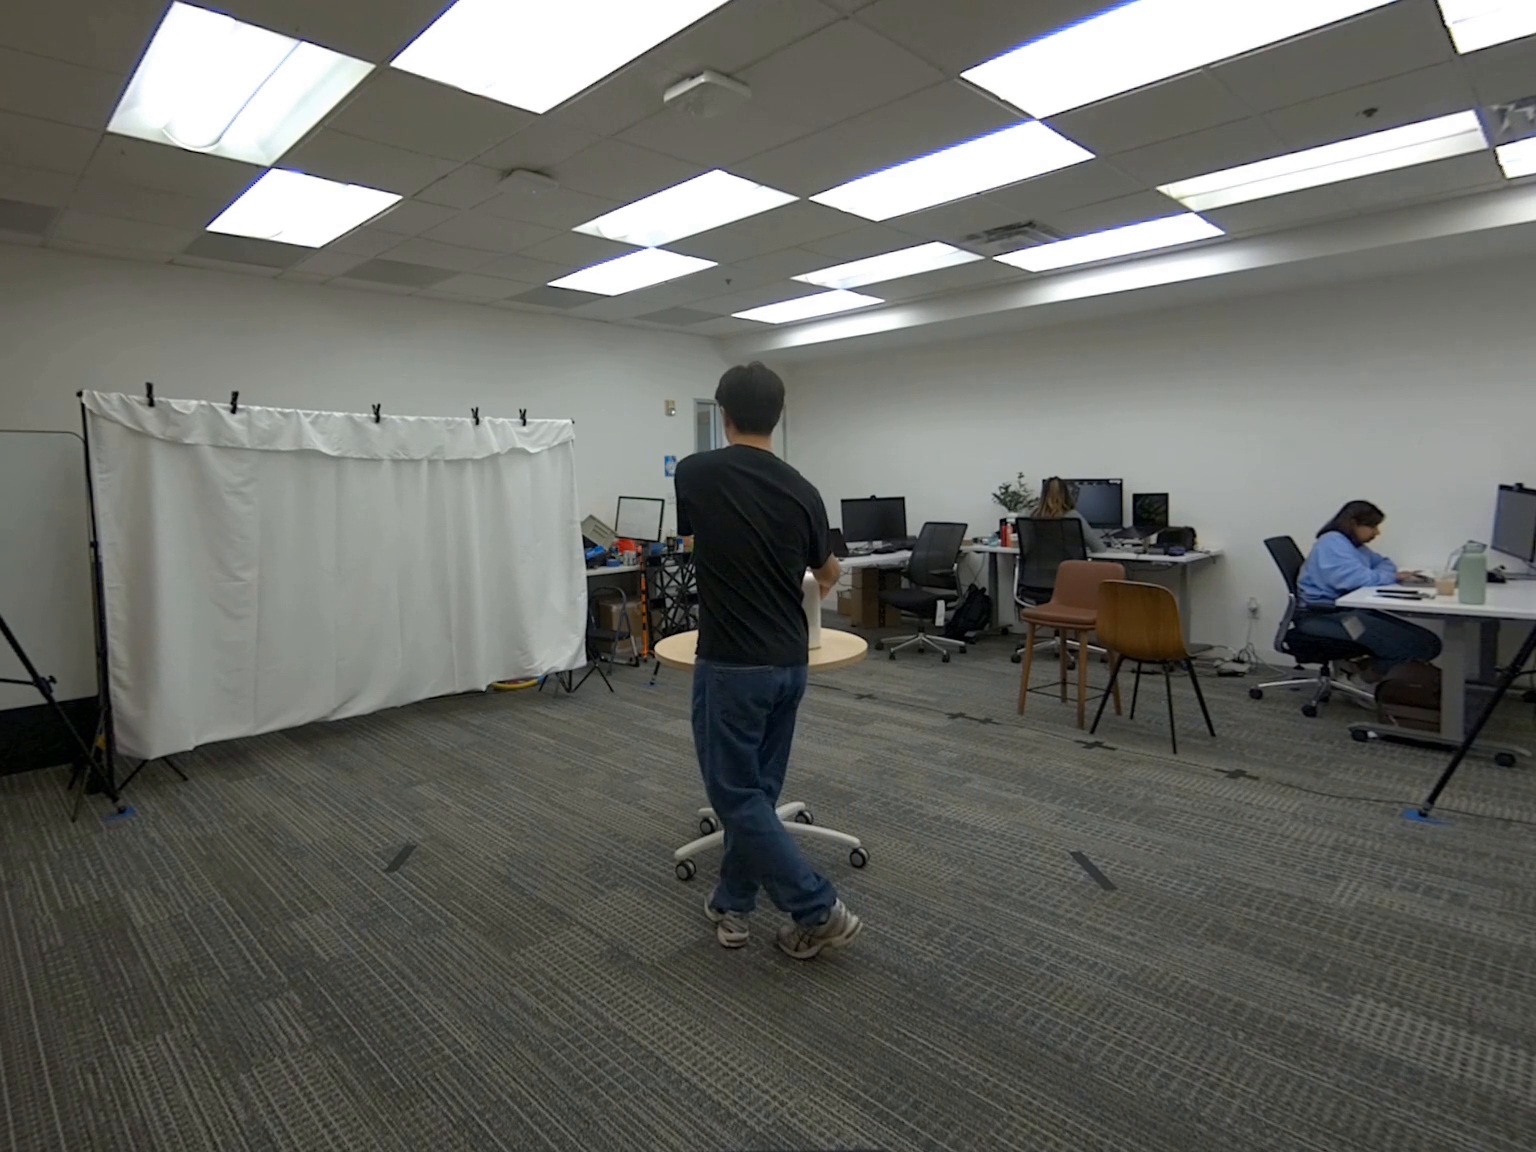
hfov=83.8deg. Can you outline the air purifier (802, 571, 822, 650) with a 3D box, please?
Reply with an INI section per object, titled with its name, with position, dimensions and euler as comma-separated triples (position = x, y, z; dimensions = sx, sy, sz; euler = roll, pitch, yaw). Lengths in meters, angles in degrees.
[air purifier]
position = 0.092, 0.118, 3.036
dimensions = 0.168, 0.265, 0.175
euler = -3, 3, -22
